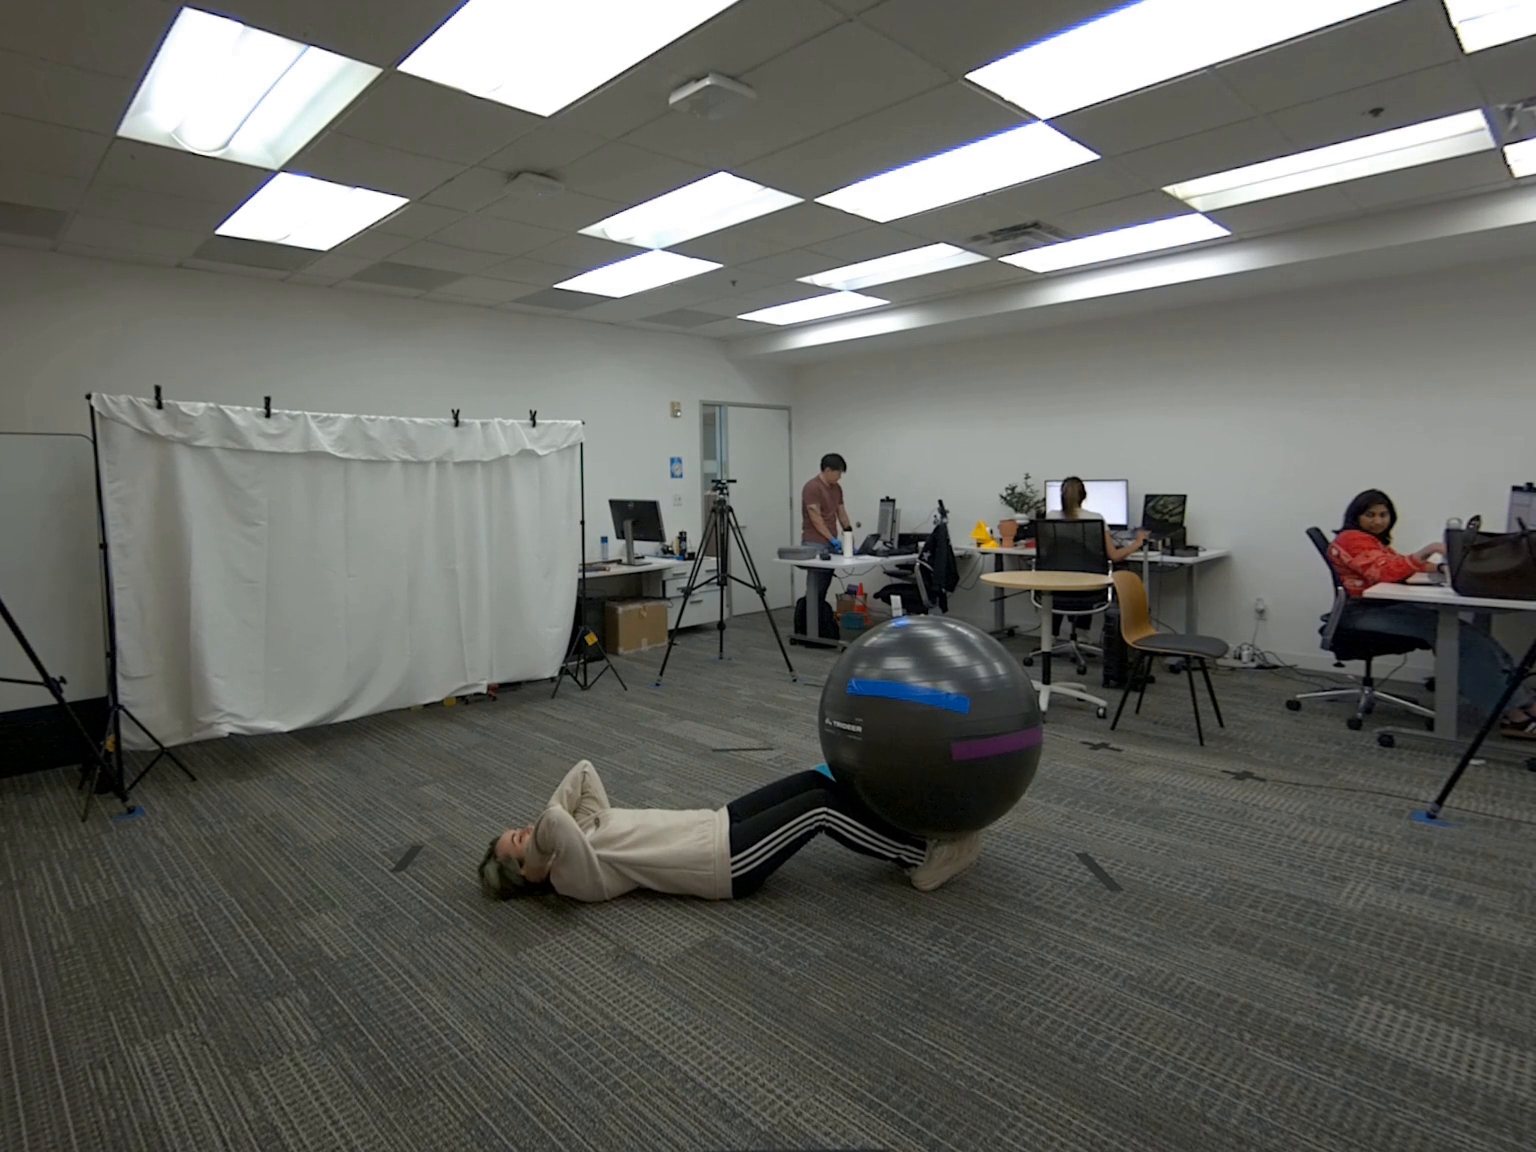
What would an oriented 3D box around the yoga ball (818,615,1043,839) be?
[{"bbox_3d":[0.561,0.519,2.989,0.757,0.755,0.762,-1,5,-2],"label":"yoga ball"}]
